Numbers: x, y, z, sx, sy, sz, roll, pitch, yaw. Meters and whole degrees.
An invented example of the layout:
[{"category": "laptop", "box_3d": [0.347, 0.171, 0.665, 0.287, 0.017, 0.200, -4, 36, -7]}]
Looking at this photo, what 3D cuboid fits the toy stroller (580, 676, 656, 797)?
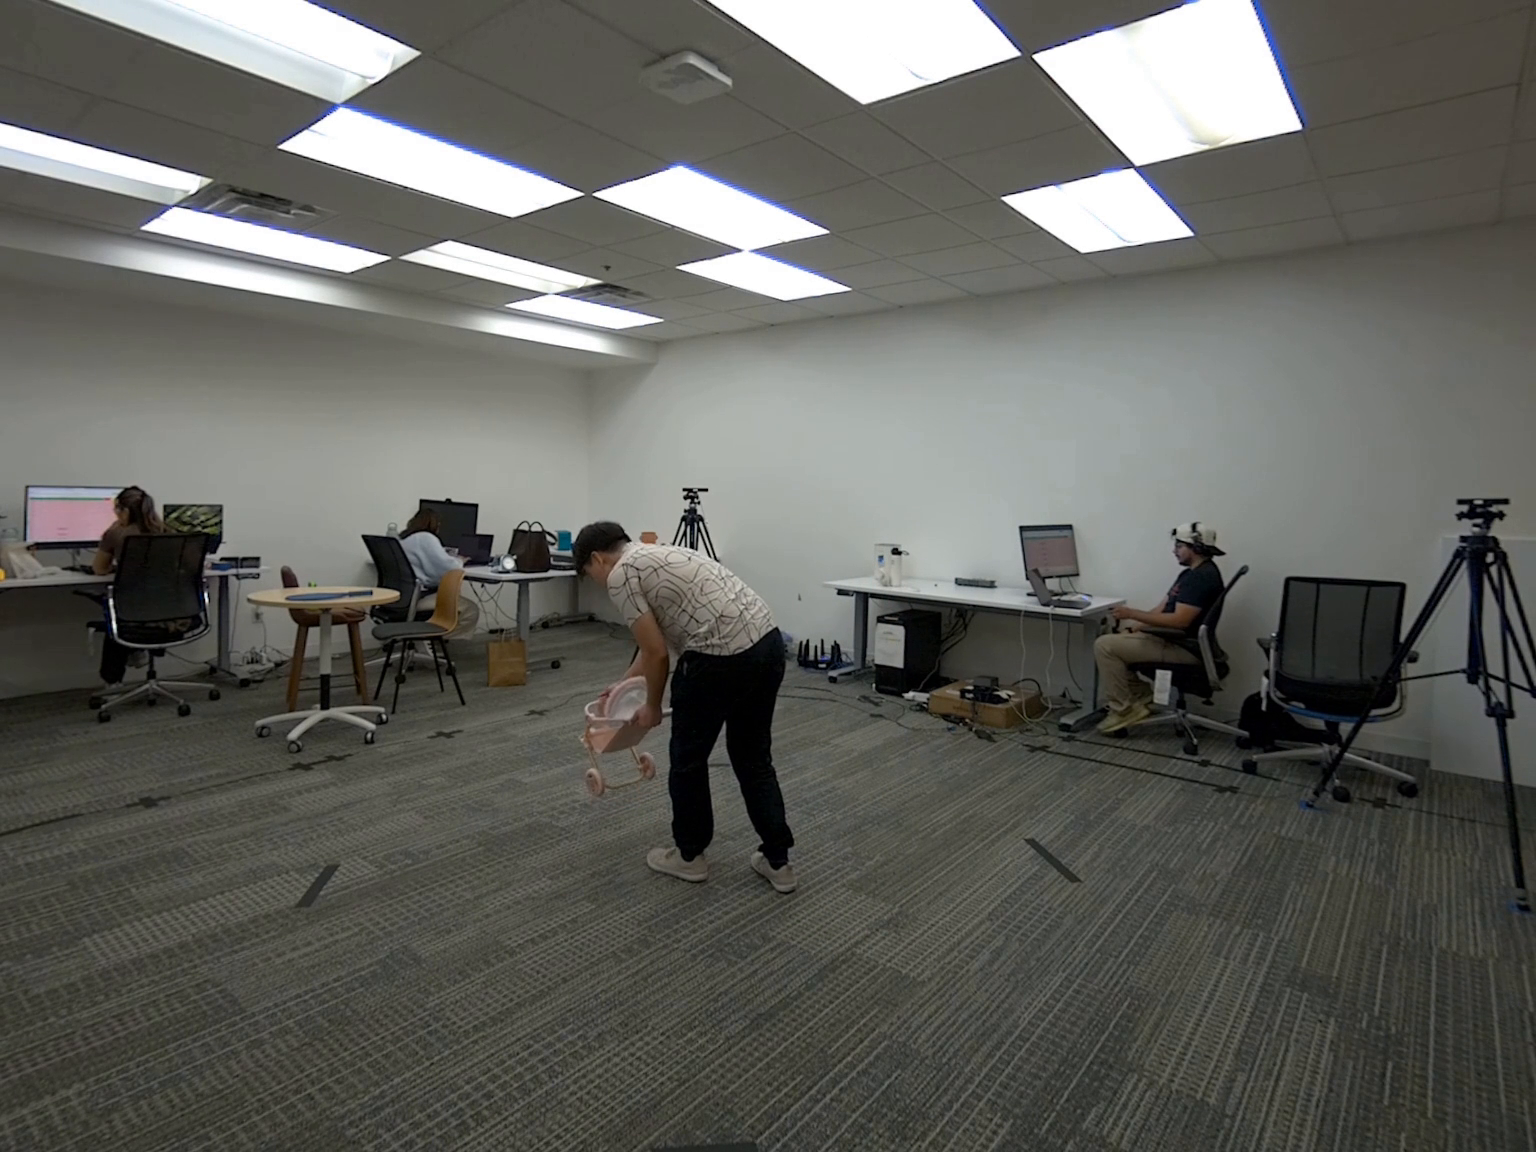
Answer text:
[{"category": "toy stroller", "box_3d": [-0.591, 0.594, 3.343, 0.273, 0.529, 0.355, -2, 42, -39]}]
